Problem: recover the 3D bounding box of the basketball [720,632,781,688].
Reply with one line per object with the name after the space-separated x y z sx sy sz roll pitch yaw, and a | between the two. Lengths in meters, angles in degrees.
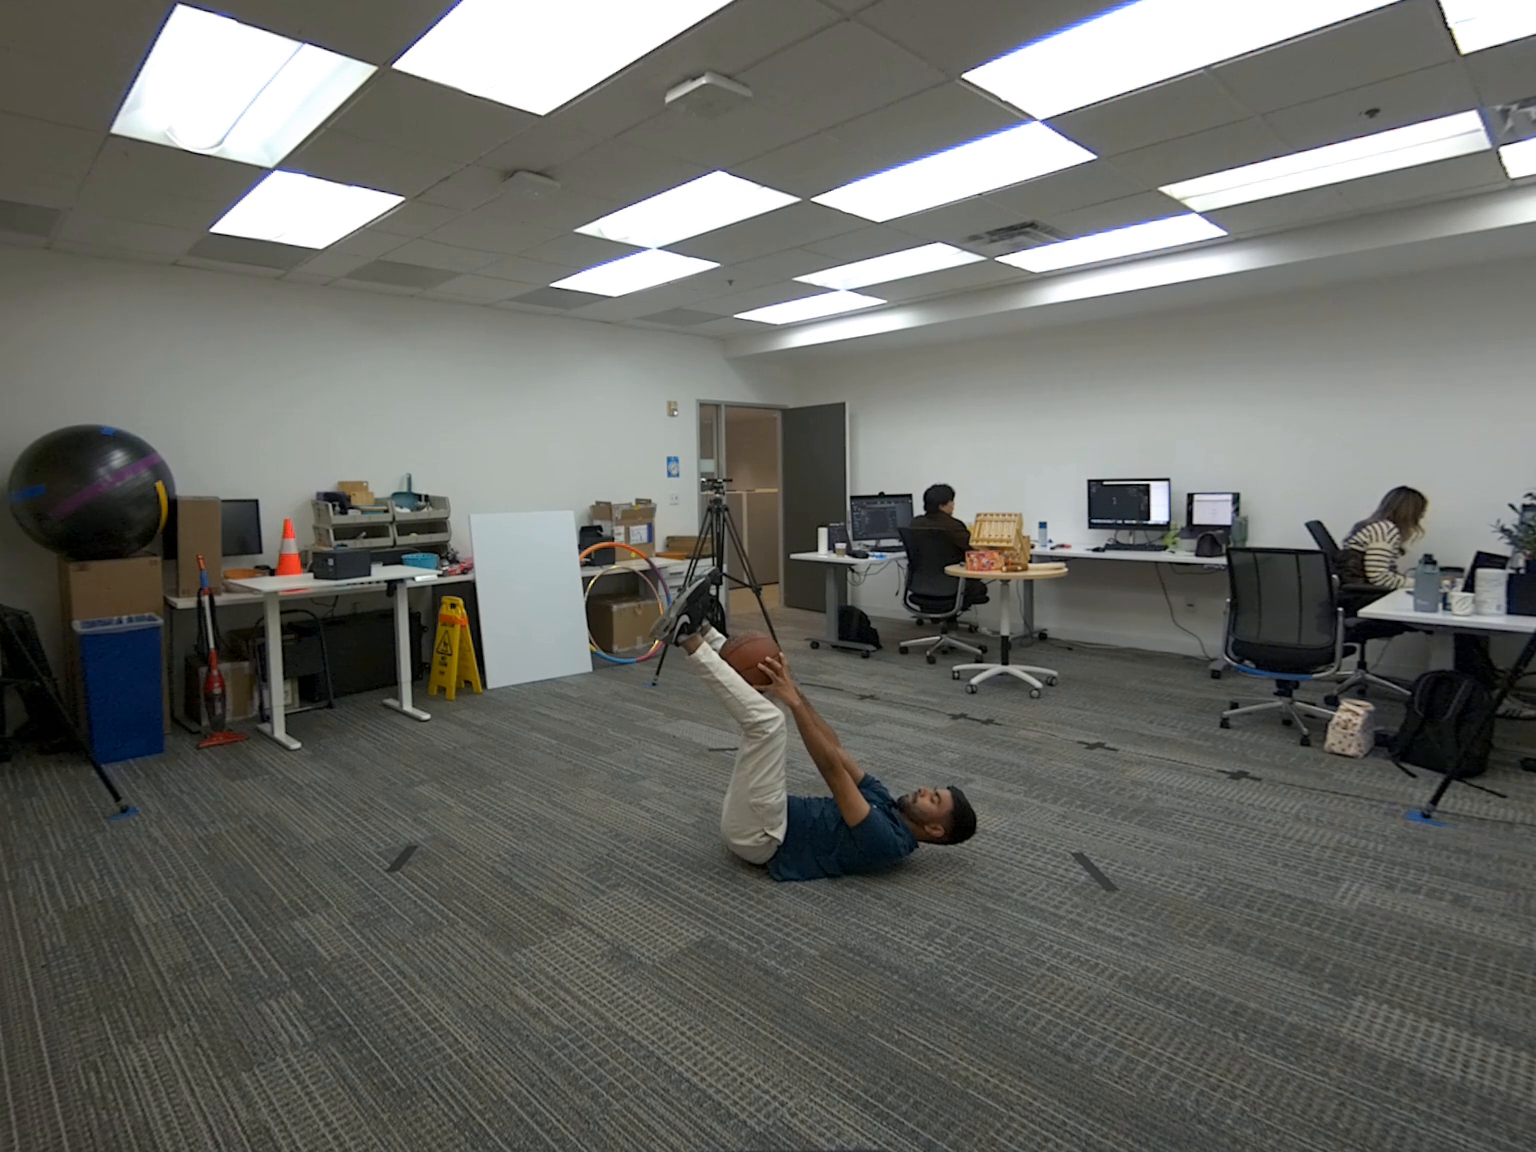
-0.067 0.309 3.122 0.236 0.235 0.237 -1 5 -2 | basketball
